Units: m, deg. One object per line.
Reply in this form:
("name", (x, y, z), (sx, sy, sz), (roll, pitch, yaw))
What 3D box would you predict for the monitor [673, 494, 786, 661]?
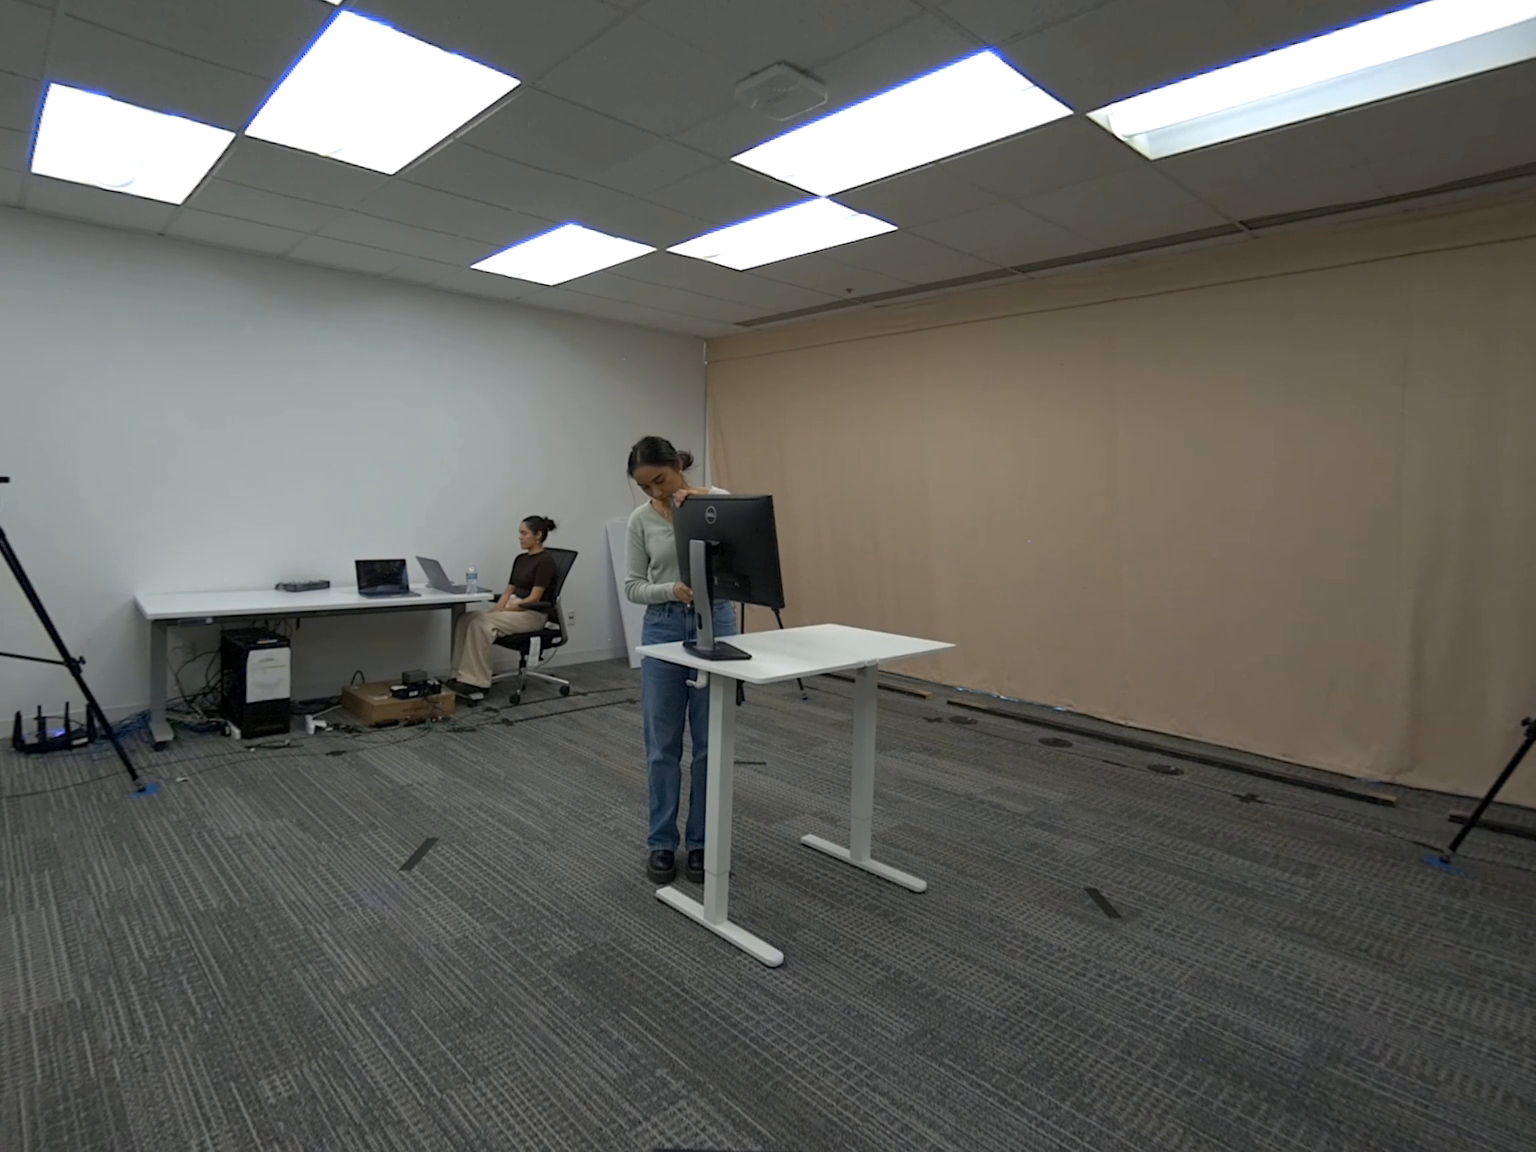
("monitor", (-0.188, -0.001, 2.724), (0.183, 0.522, 0.553), (1, 3, -40))
